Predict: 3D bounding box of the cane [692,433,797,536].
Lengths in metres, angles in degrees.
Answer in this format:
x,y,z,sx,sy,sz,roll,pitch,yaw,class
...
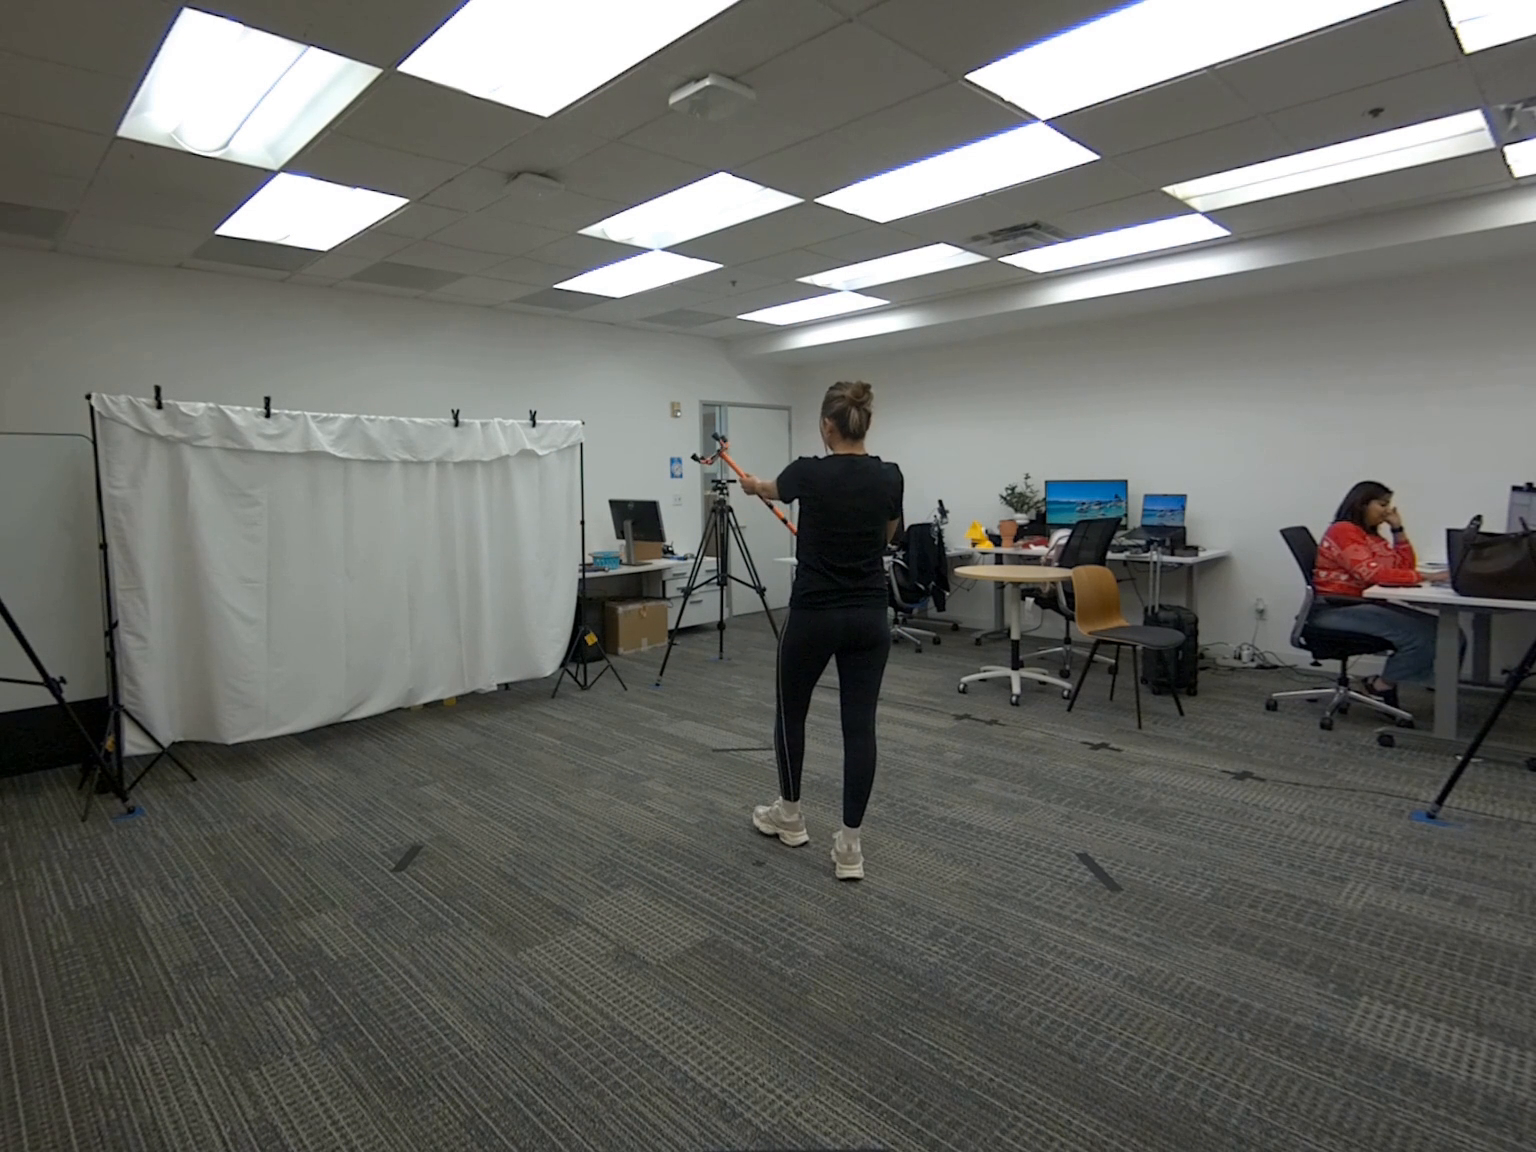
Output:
x,y,z,sx,sy,sz,roll,pitch,yaw,class
0.060,-0.212,3.540,0.152,0.914,0.205,-43,-5,12,cane
